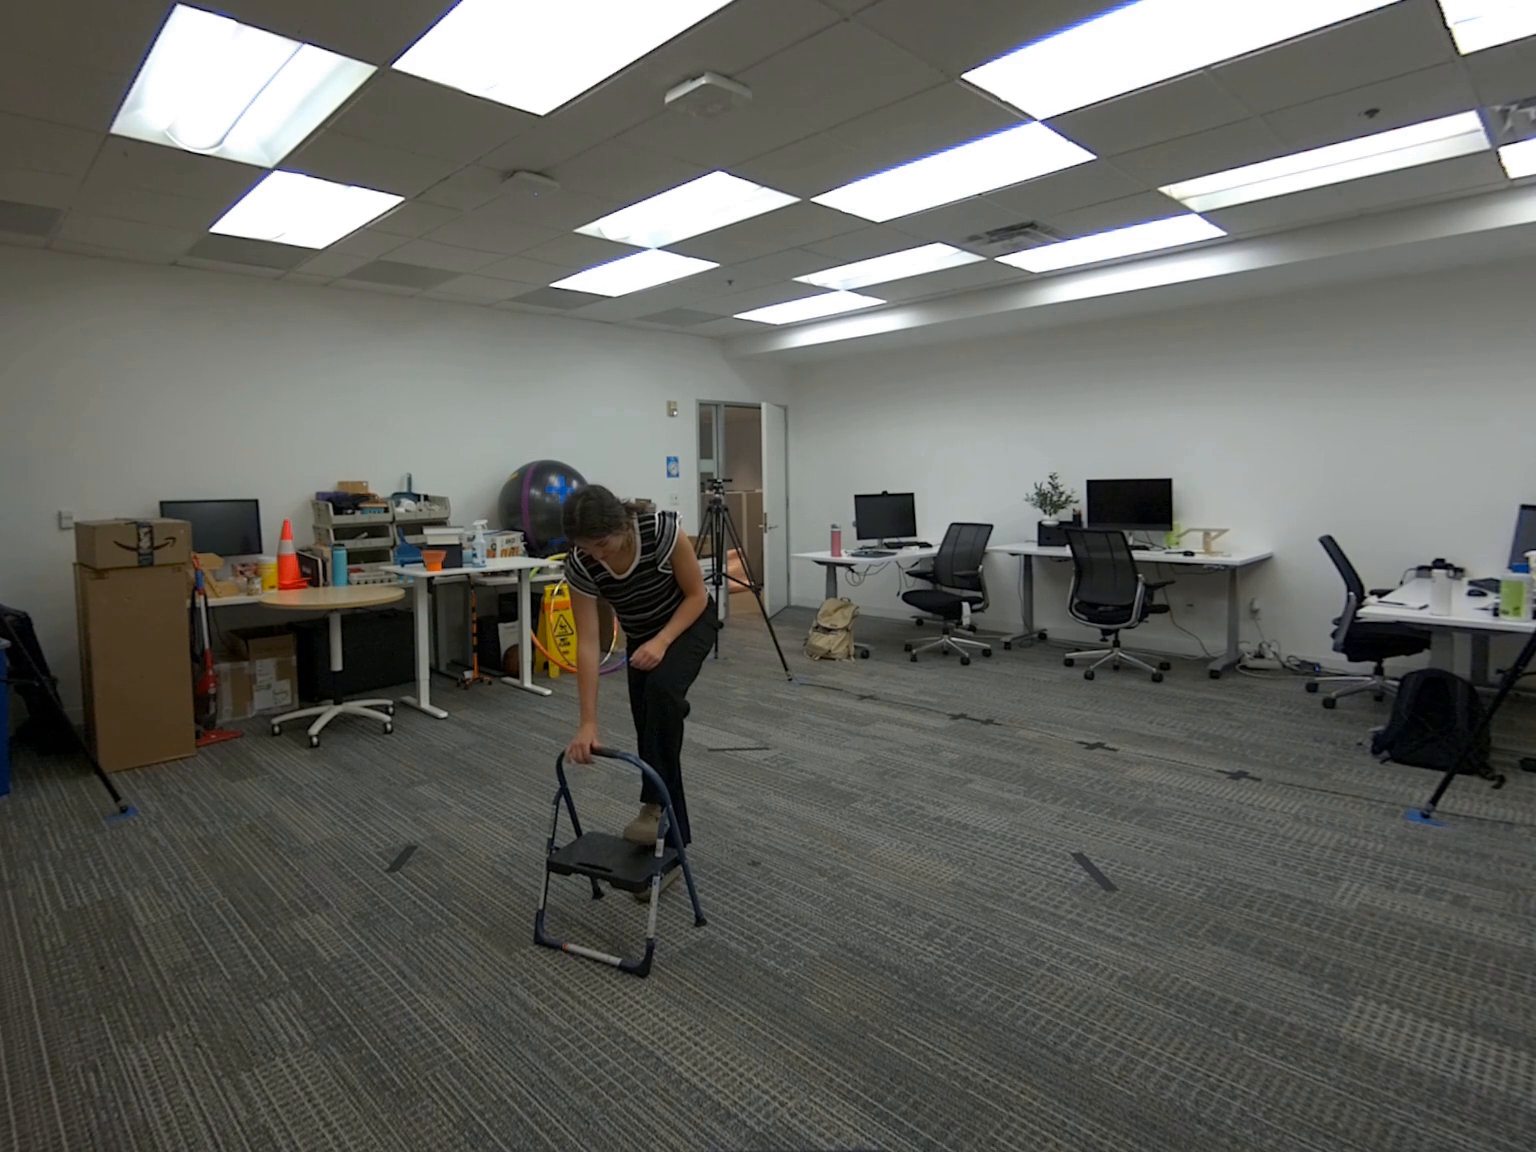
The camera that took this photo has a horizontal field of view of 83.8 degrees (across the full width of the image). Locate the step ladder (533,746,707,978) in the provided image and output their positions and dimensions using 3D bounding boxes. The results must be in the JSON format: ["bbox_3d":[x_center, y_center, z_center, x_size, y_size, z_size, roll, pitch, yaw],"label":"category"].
[{"bbox_3d":[-0.463,0.806,2.629,0.441,0.603,0.343,1,6,26],"label":"step ladder"}]
